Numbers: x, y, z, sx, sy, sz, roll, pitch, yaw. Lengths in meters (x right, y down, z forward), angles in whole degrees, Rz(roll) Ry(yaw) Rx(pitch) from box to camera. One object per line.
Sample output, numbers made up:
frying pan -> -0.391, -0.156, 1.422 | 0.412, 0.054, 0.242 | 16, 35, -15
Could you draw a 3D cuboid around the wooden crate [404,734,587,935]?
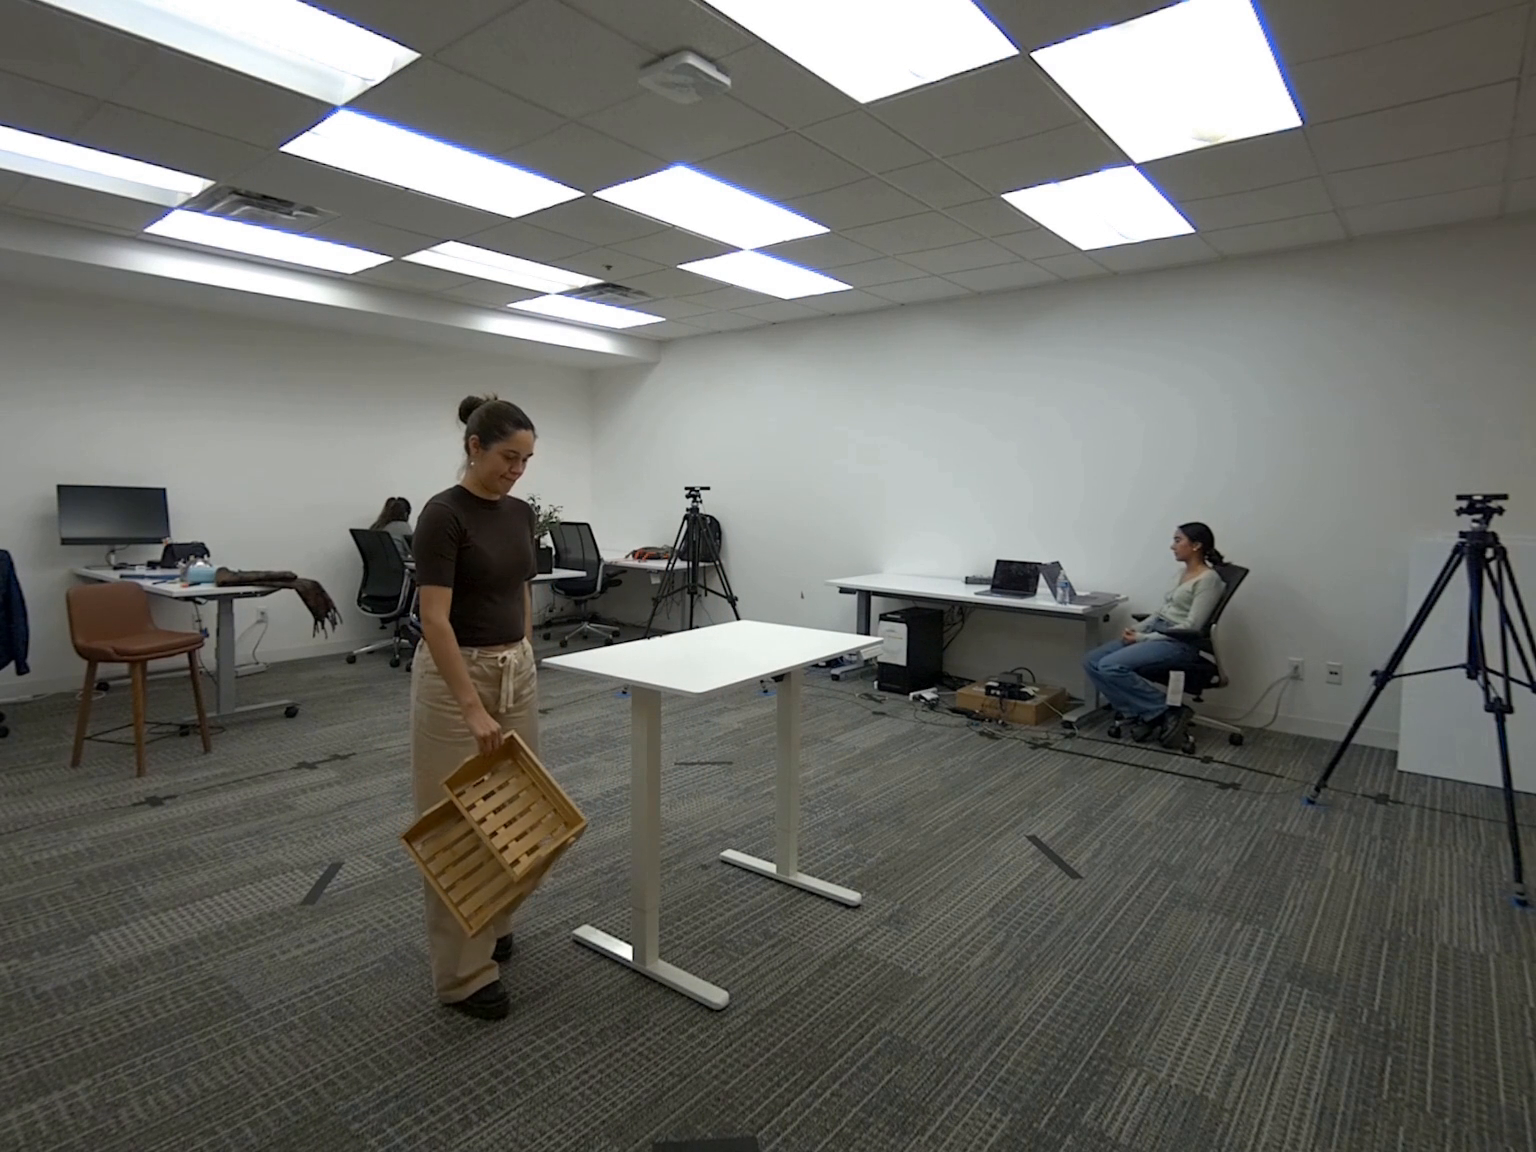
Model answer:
wooden crate -> -0.681, 0.619, 2.062 | 0.333, 0.270, 0.298 | 44, 44, 17
